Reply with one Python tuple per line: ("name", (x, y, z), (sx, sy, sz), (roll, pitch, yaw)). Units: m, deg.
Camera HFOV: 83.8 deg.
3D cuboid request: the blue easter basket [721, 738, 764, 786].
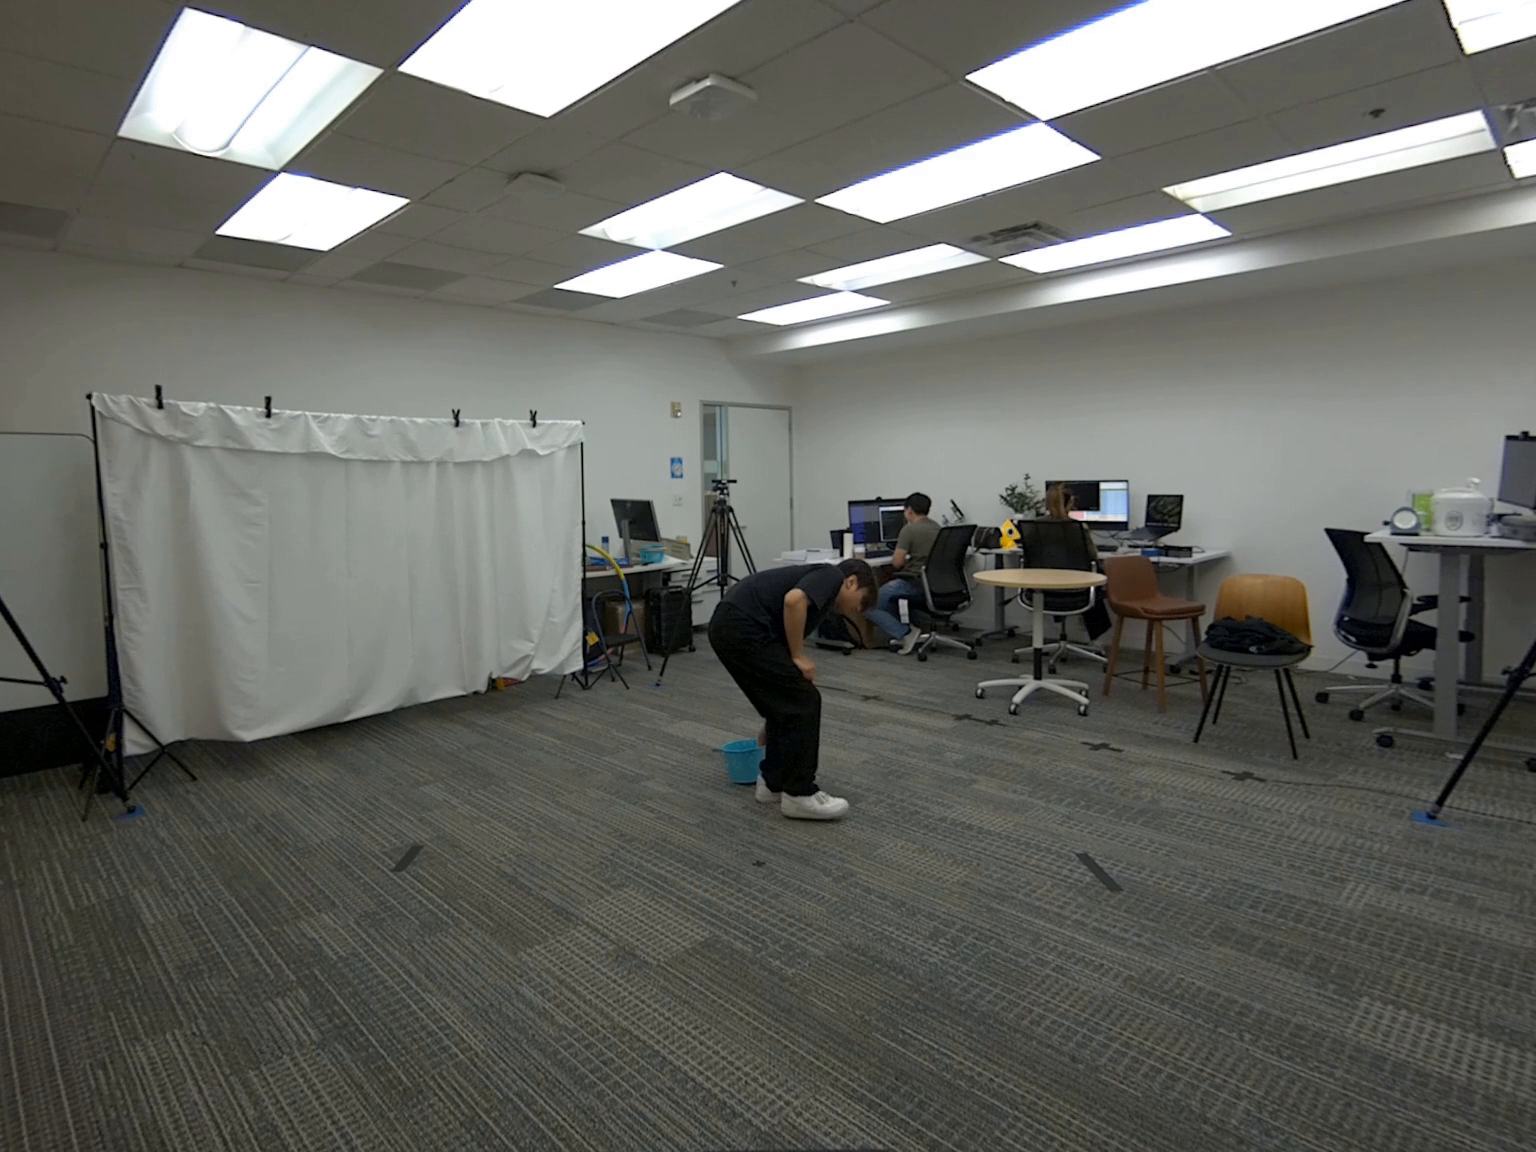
("blue easter basket", (-0.091, 0.867, 3.993), (0.243, 0.156, 0.244), (-6, 1, -2))
